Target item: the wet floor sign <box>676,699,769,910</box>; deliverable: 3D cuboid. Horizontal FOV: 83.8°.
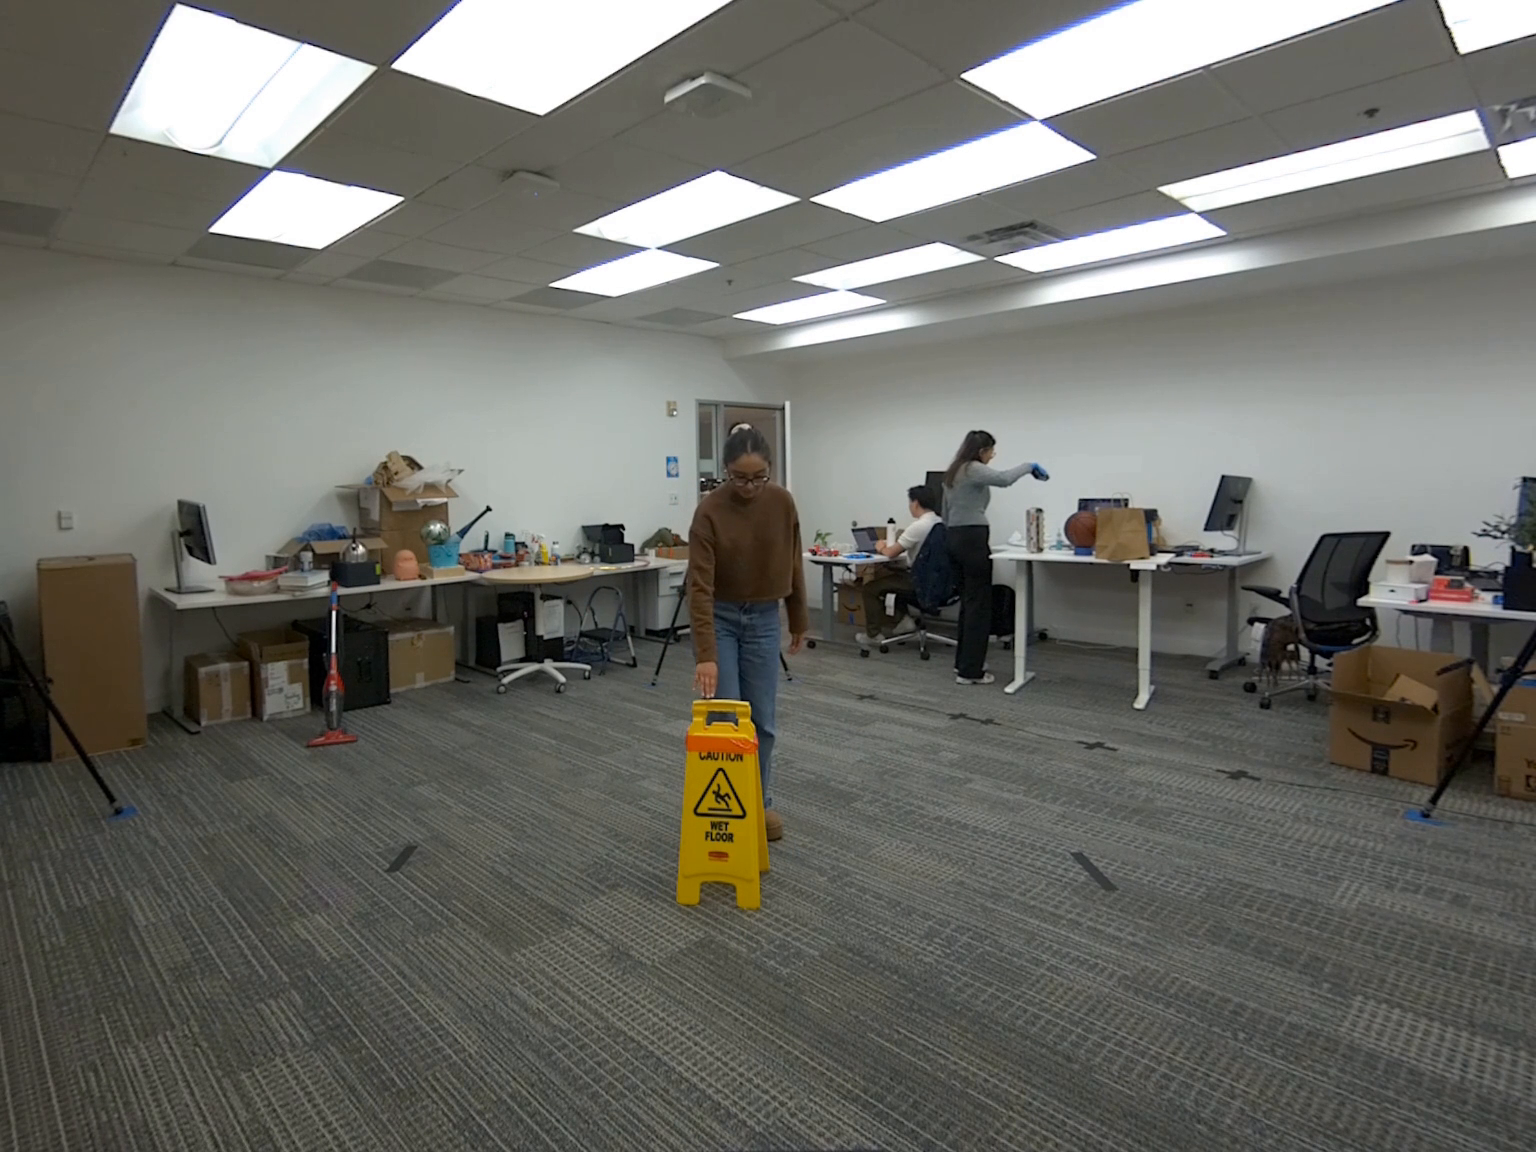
[{"bbox_3d":[-0.145,0.754,2.911,0.285,0.643,0.288,-1,5,8],"label":"wet floor sign"}]
